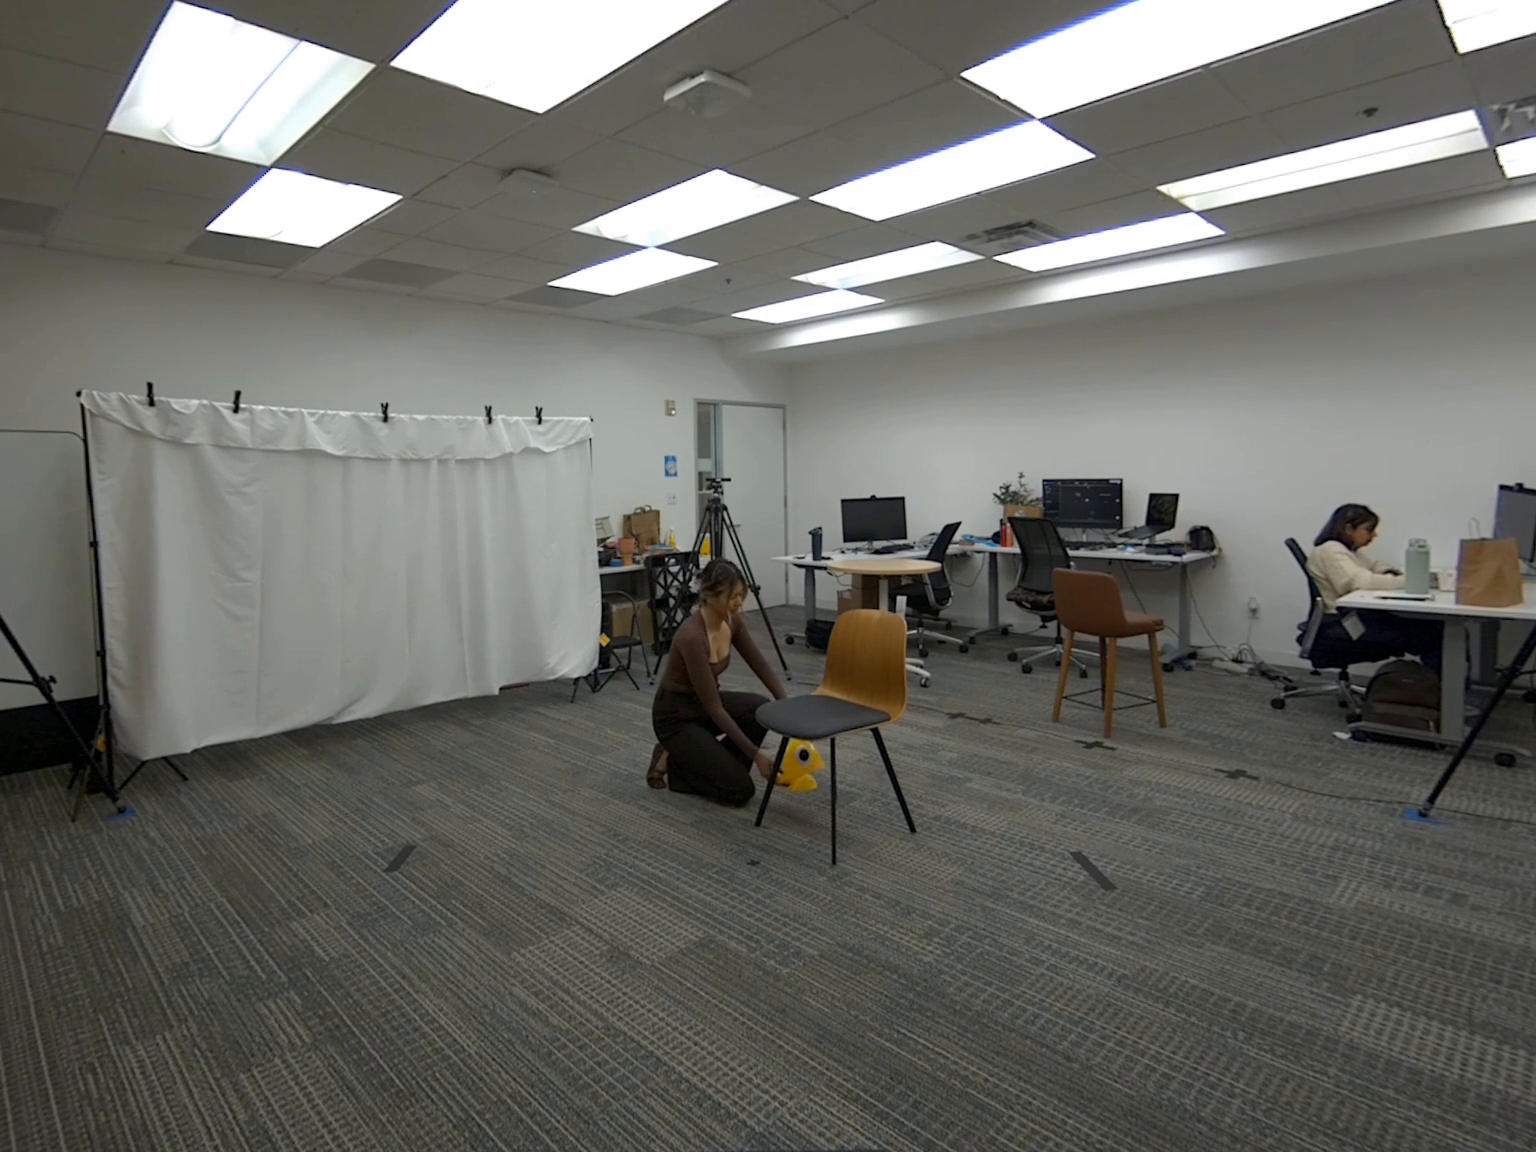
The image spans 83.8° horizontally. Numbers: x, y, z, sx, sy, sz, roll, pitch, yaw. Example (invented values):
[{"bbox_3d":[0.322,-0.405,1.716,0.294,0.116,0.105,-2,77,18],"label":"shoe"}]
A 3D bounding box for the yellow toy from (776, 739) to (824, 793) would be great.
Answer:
[{"bbox_3d":[0.111,0.763,3.590,0.210,0.231,0.187,-4,-4,41],"label":"yellow toy"}]
